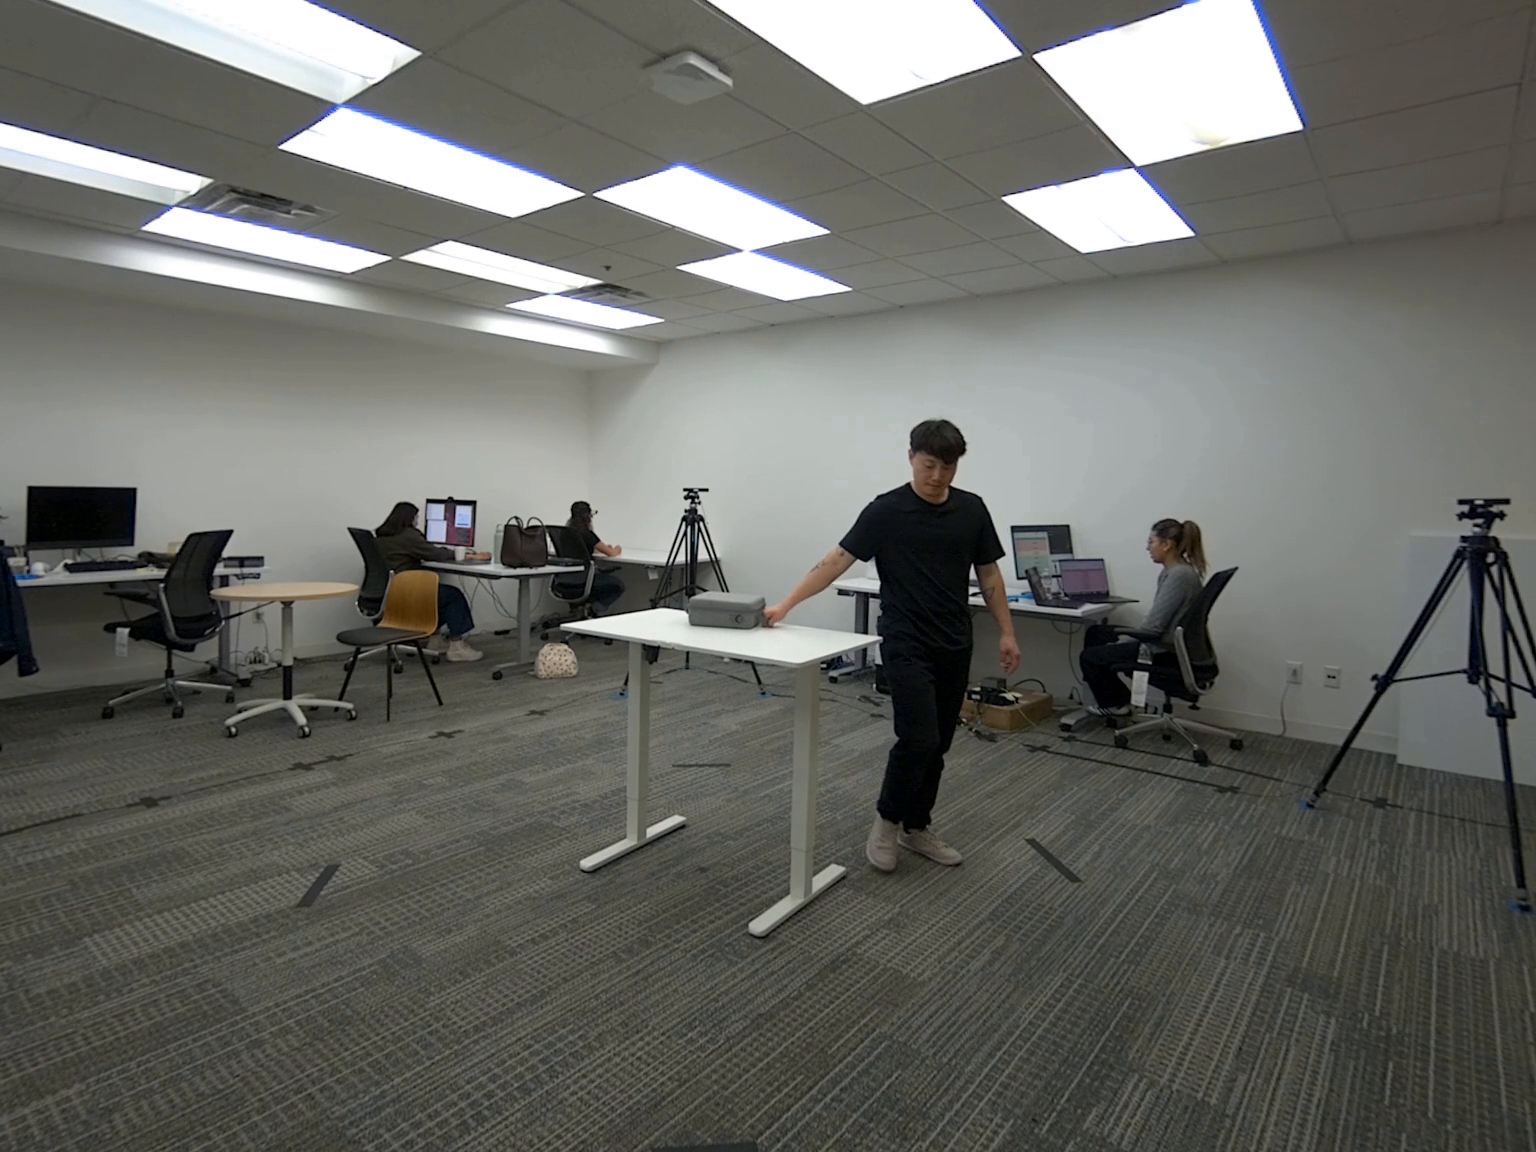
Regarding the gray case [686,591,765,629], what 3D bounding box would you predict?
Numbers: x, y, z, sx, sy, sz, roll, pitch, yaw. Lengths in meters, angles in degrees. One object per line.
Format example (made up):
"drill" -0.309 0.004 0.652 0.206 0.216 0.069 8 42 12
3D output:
"gray case" -0.168 0.123 3.234 0.265 0.104 0.253 4 5 15
